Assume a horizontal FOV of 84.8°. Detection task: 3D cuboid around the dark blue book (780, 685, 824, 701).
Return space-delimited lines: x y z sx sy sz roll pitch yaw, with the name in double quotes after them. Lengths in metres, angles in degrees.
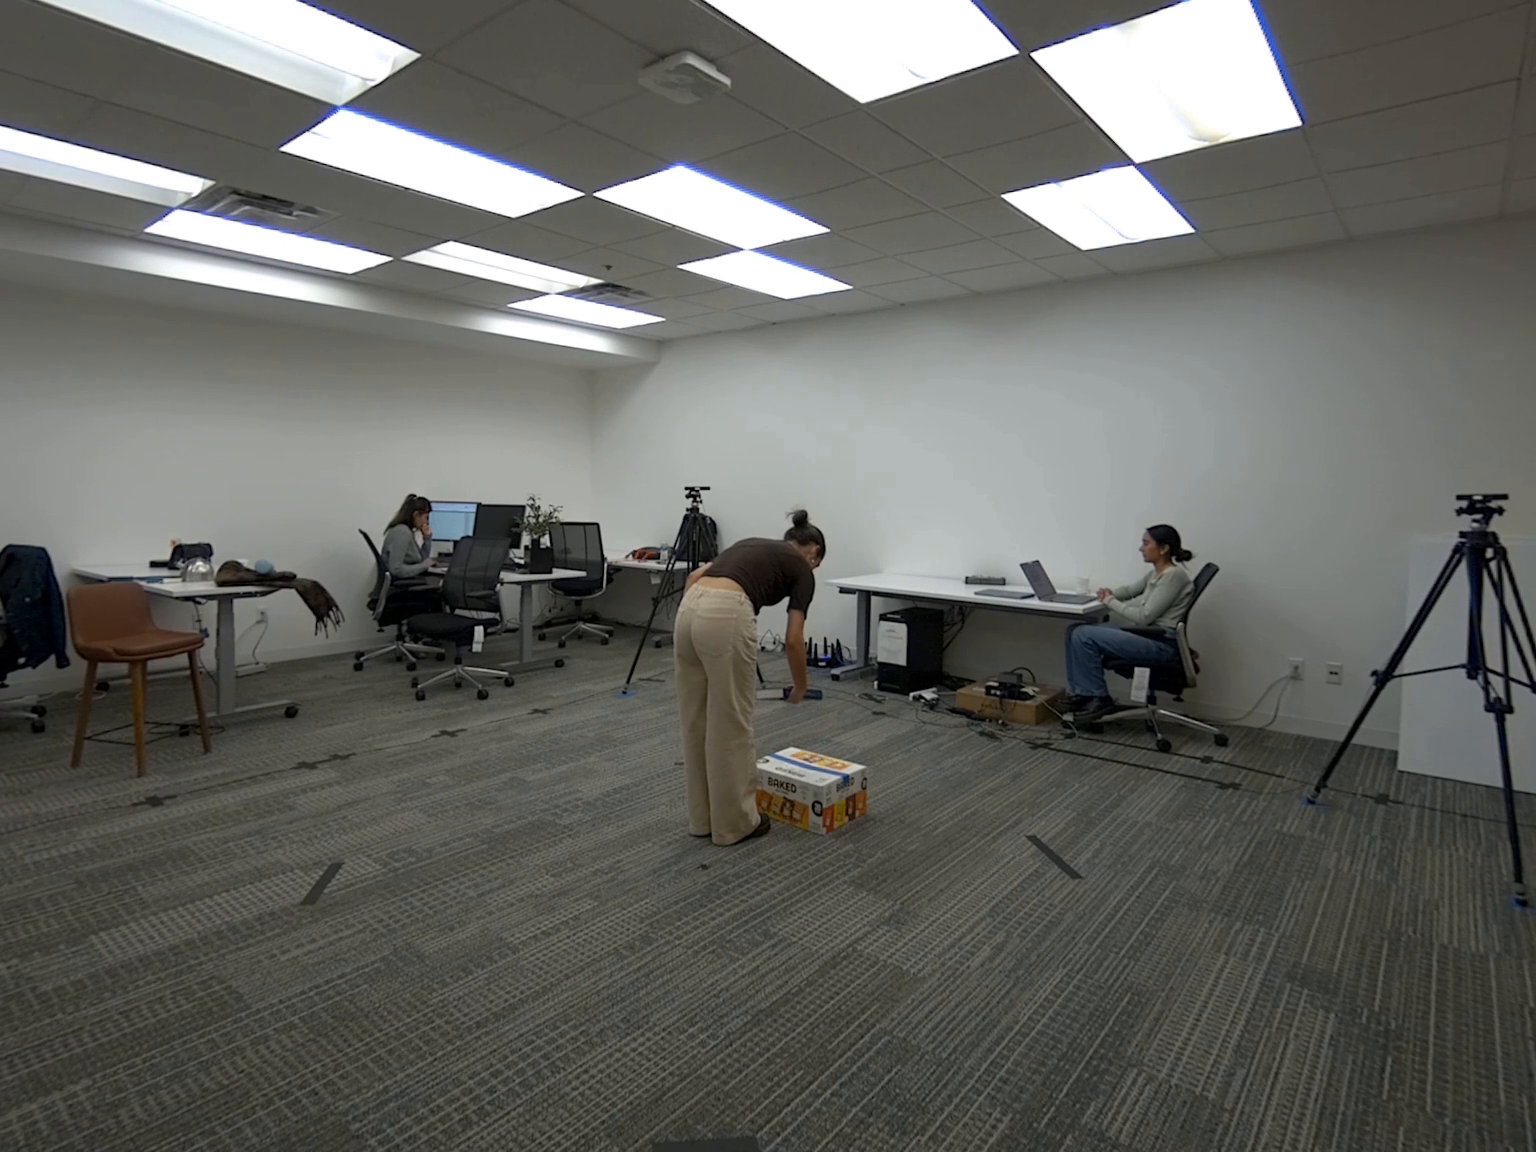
0.089 0.504 3.602 0.167 0.045 0.236 -10 -11 40 "dark blue book"
